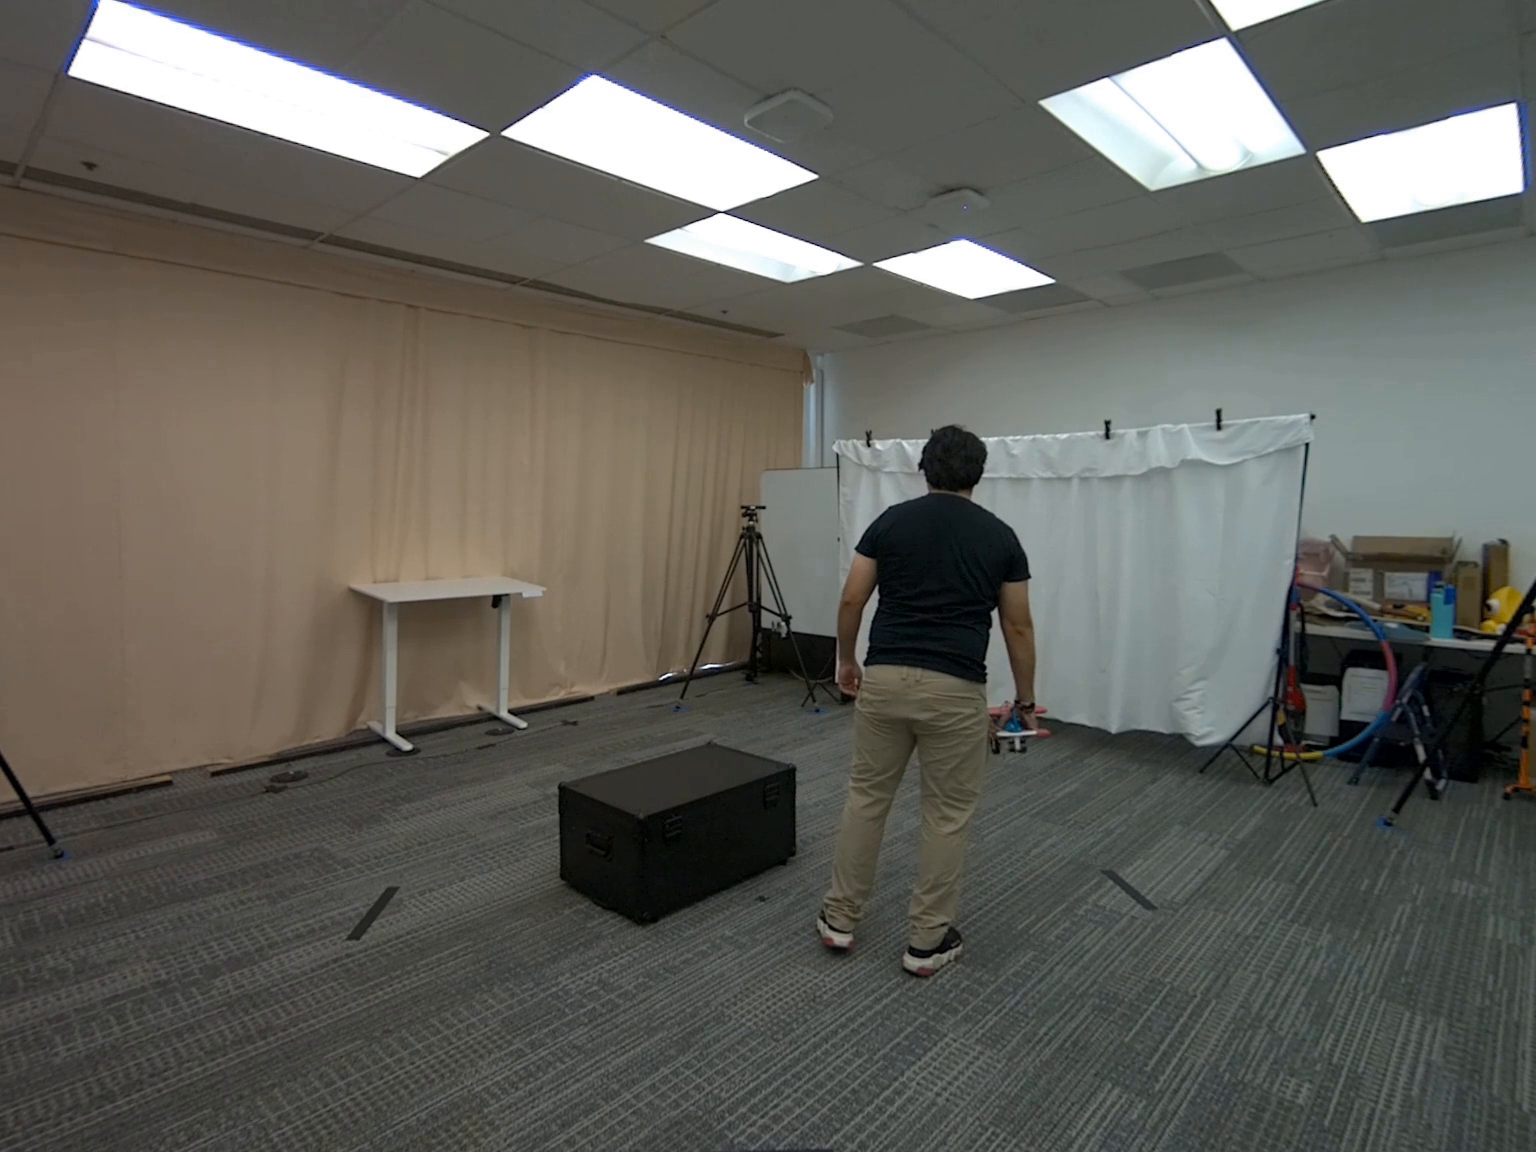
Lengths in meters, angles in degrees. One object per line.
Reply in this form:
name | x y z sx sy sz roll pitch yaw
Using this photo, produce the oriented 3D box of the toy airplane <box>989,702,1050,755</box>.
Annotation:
toy airplane | 0.826 0.506 2.768 0.246 0.158 0.262 2 -15 -21
